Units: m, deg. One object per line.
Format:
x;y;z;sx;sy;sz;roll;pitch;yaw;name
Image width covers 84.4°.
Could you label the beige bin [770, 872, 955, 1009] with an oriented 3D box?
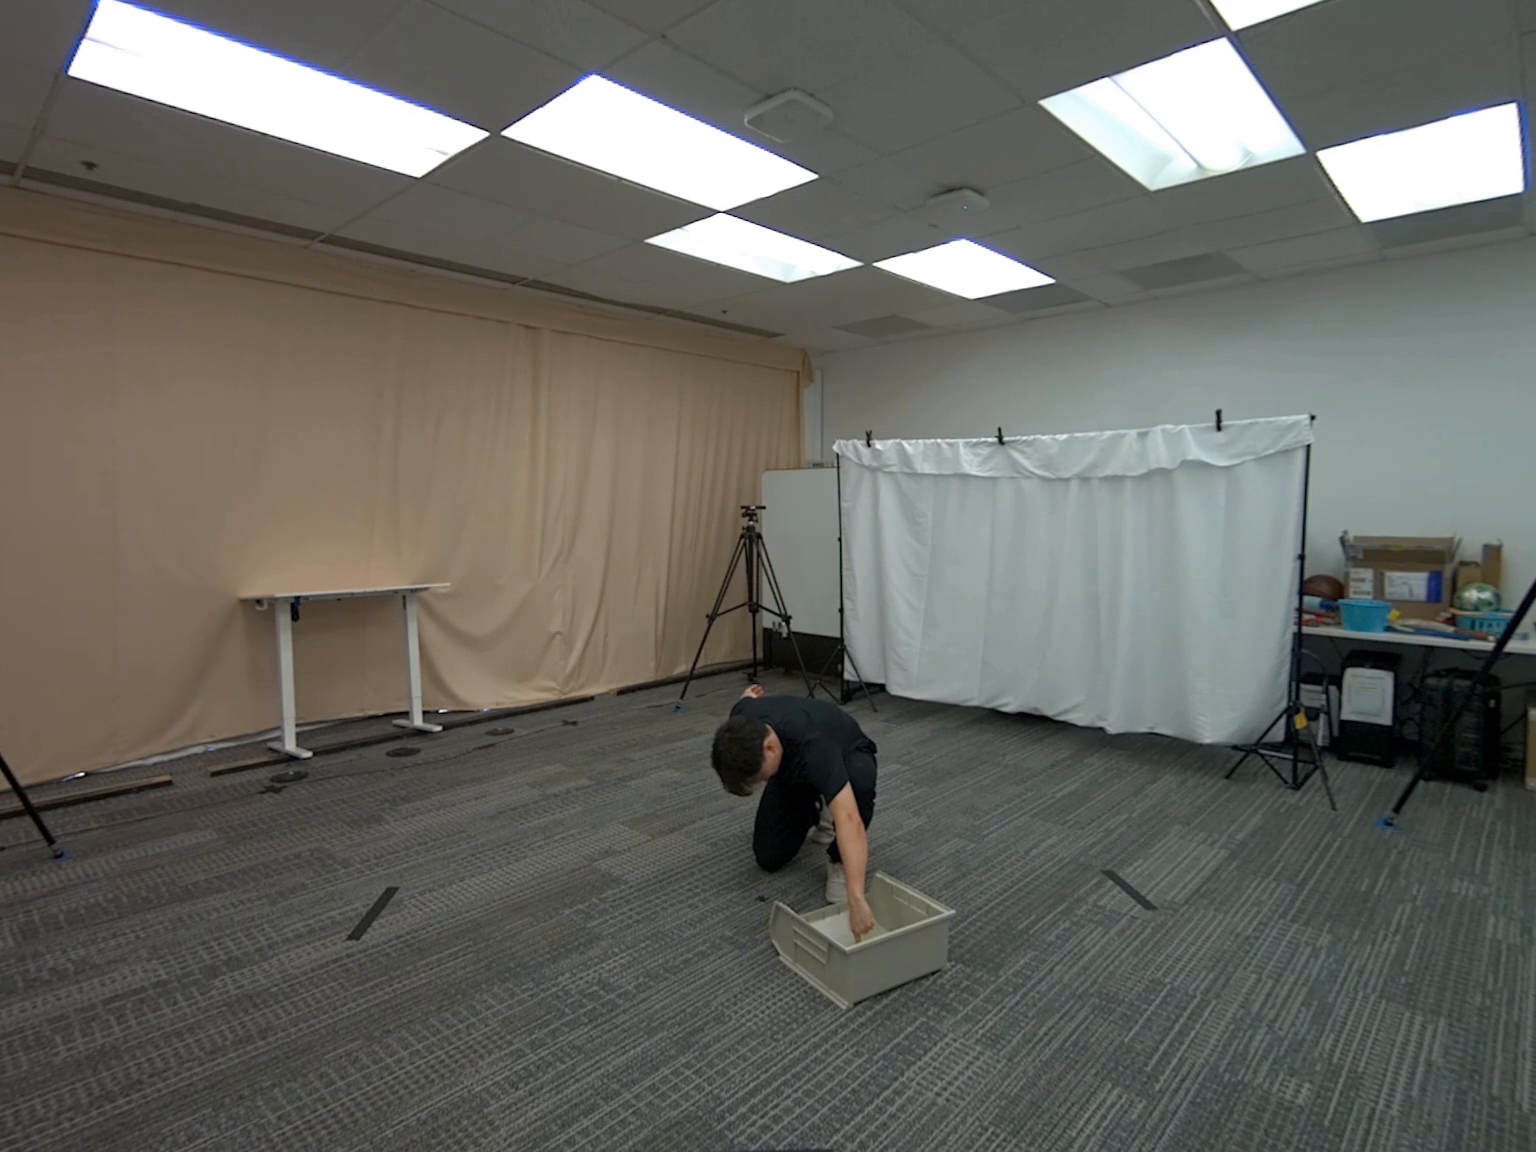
0.279;1.082;2.574;0.410;0.188;0.389;-2;5;-33;beige bin
